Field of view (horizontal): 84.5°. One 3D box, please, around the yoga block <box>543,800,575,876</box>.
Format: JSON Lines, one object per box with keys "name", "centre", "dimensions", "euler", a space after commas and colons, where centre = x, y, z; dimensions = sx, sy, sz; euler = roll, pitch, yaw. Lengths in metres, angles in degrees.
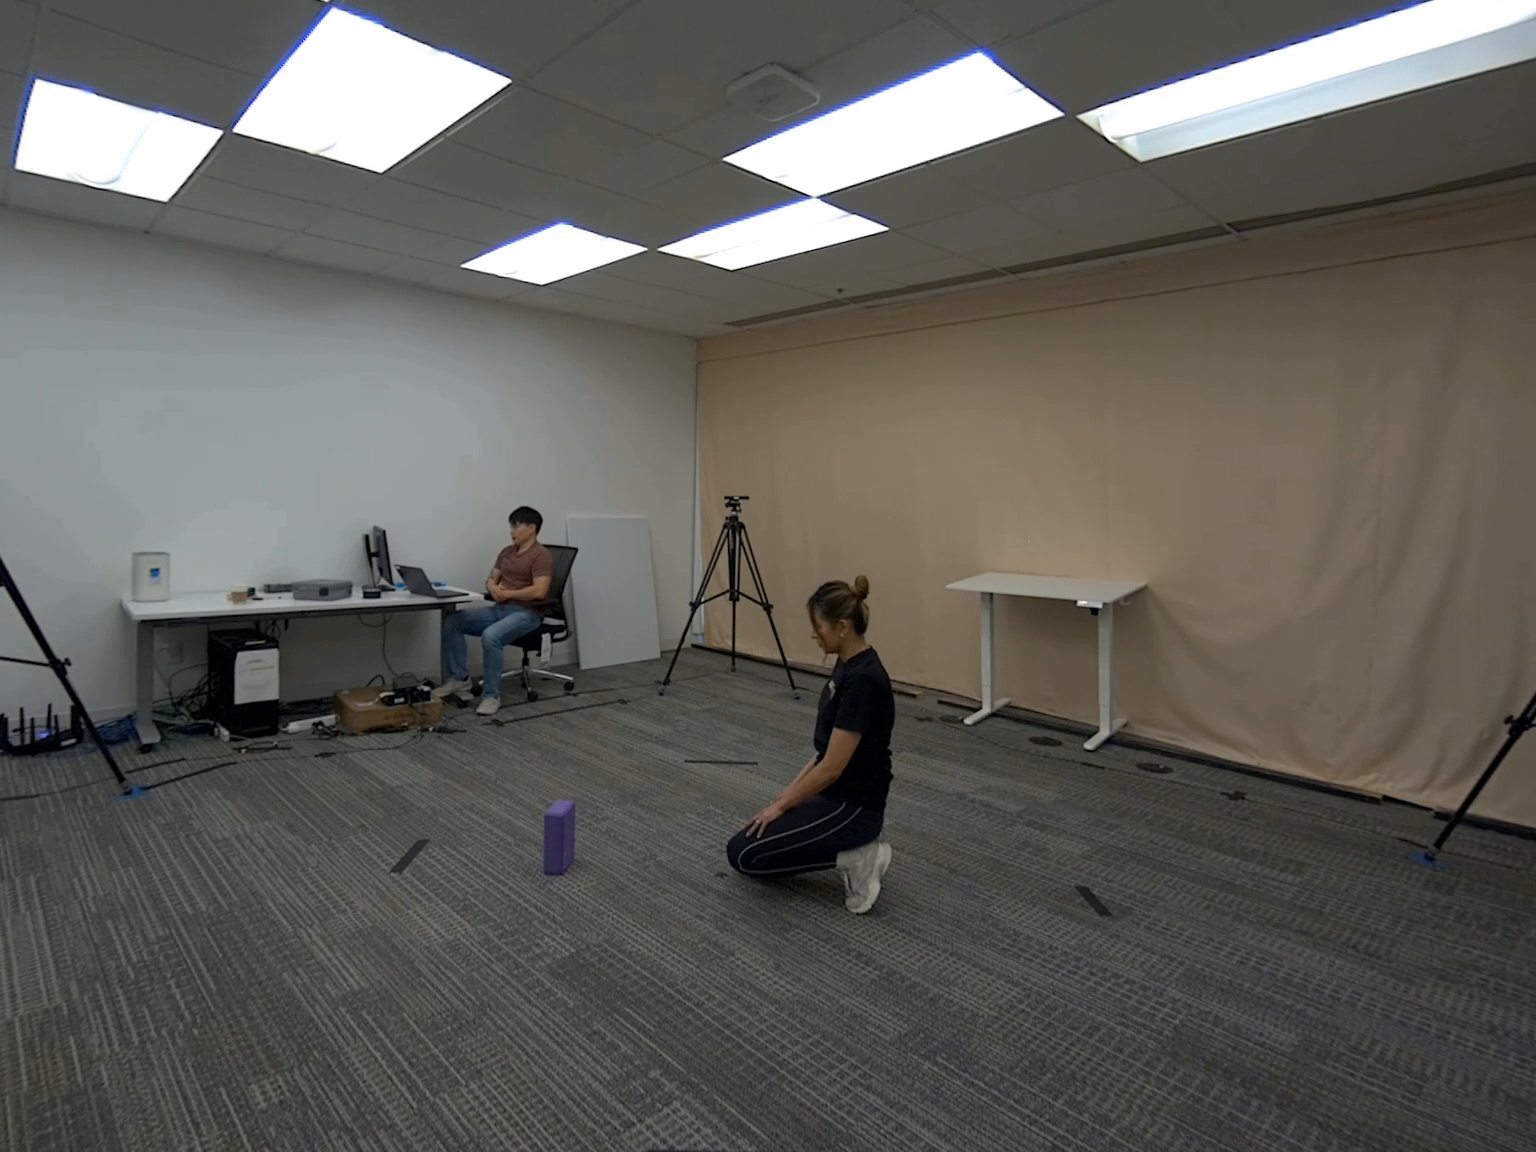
{"name": "yoga block", "centre": [-0.776, 0.968, 3.130], "dimensions": [0.077, 0.228, 0.149], "euler": [1, 5, 5]}
